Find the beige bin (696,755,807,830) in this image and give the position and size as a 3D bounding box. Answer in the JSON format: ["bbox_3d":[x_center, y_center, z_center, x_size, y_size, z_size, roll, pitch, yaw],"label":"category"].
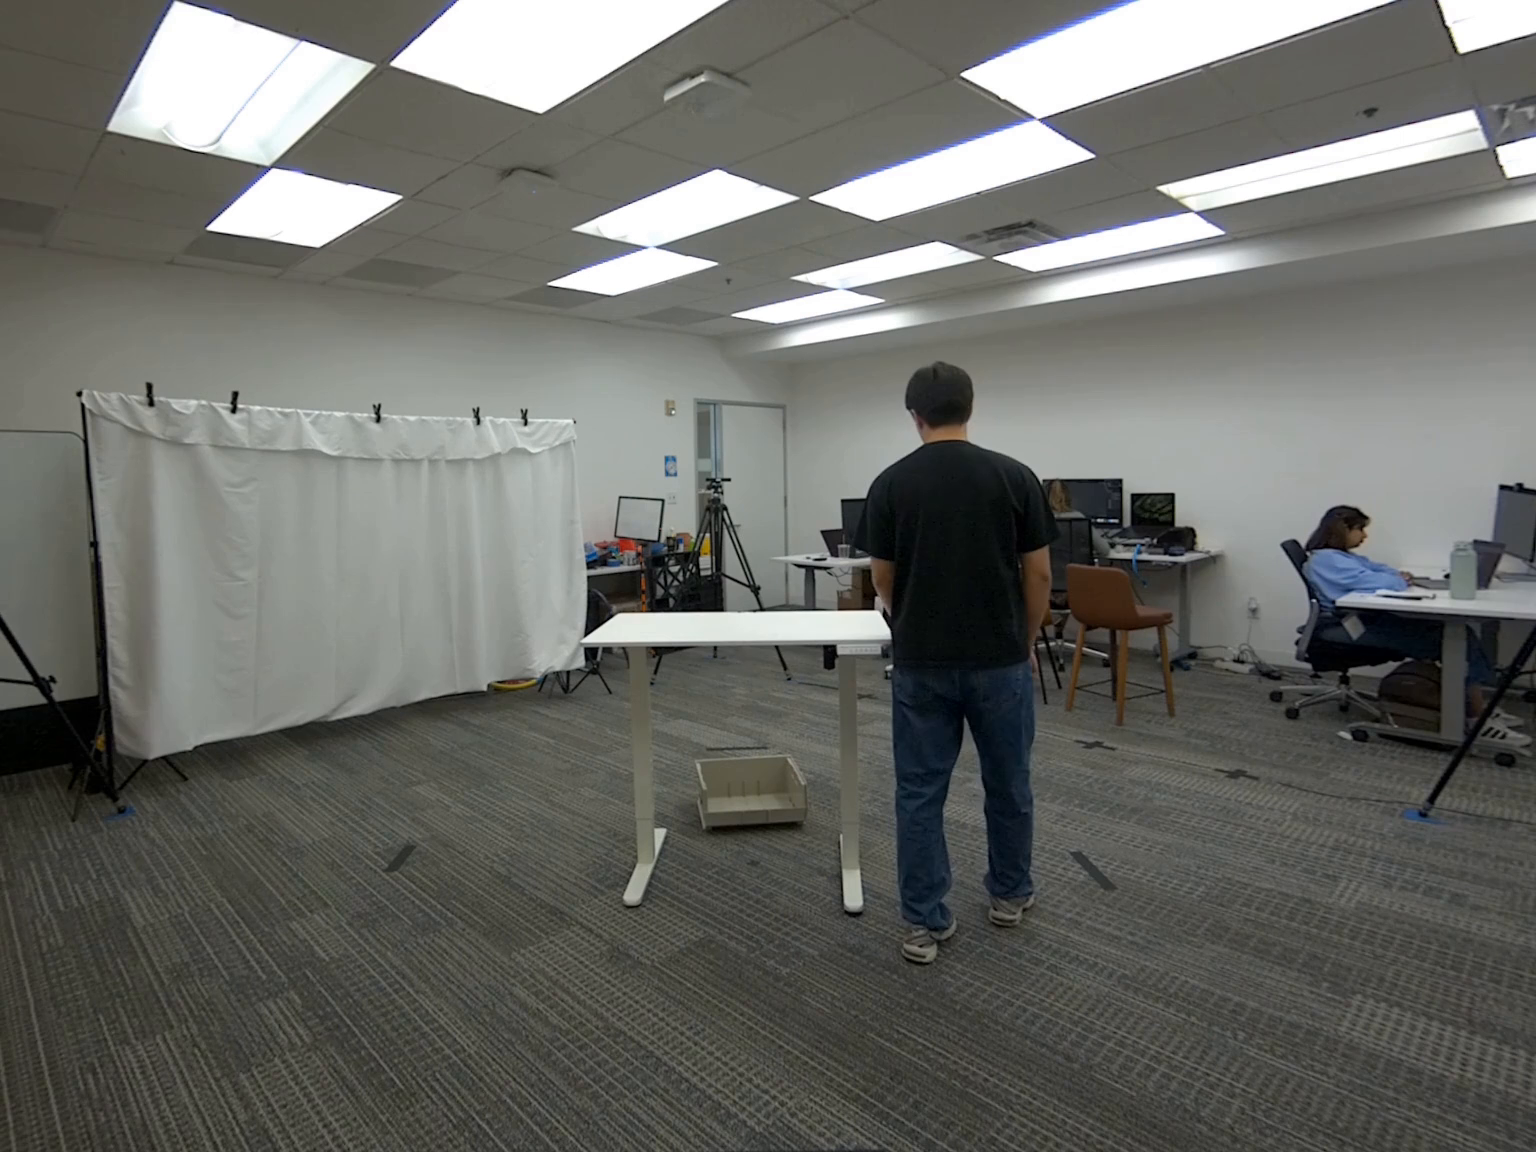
[{"bbox_3d":[-0.074,0.904,3.553,0.419,0.188,0.381,-2,5,-8],"label":"beige bin"}]
